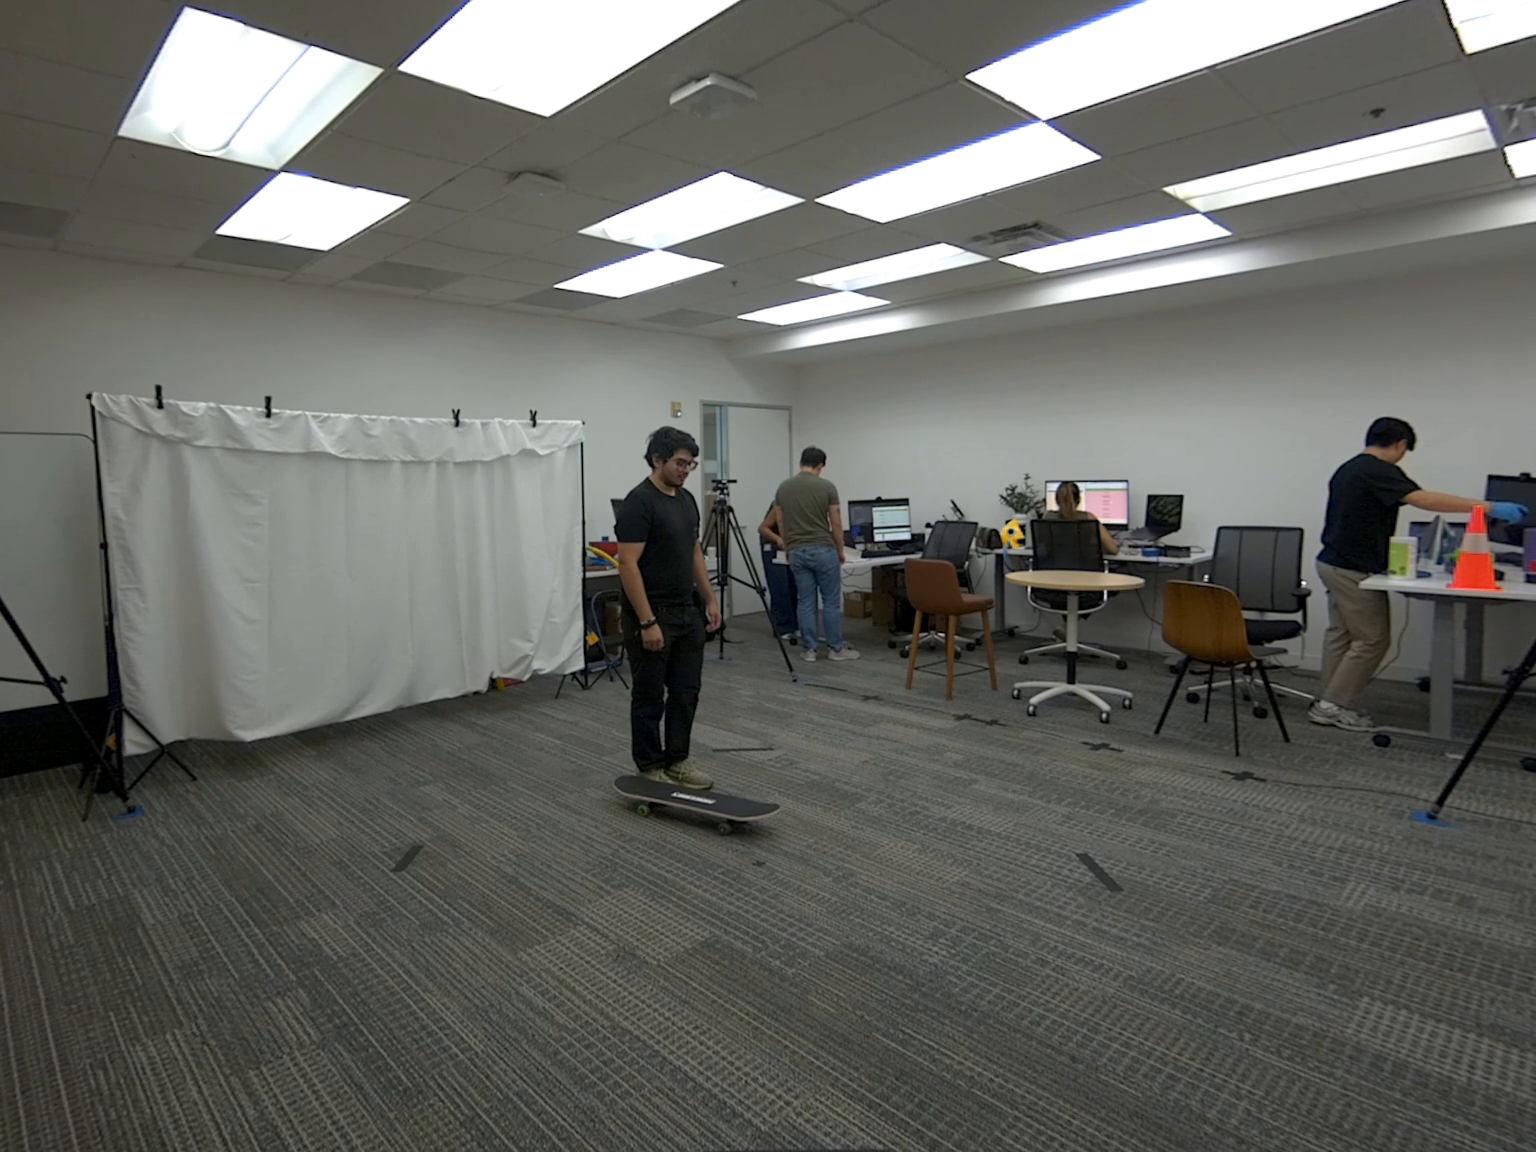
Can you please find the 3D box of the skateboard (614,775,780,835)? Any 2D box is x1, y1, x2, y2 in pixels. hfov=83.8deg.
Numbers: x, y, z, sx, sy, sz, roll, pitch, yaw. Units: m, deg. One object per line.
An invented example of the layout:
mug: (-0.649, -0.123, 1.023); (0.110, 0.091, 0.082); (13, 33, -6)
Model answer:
skateboard: (-0.301, 0.949, 3.532); (0.806, 0.110, 0.189); (2, 6, 30)
